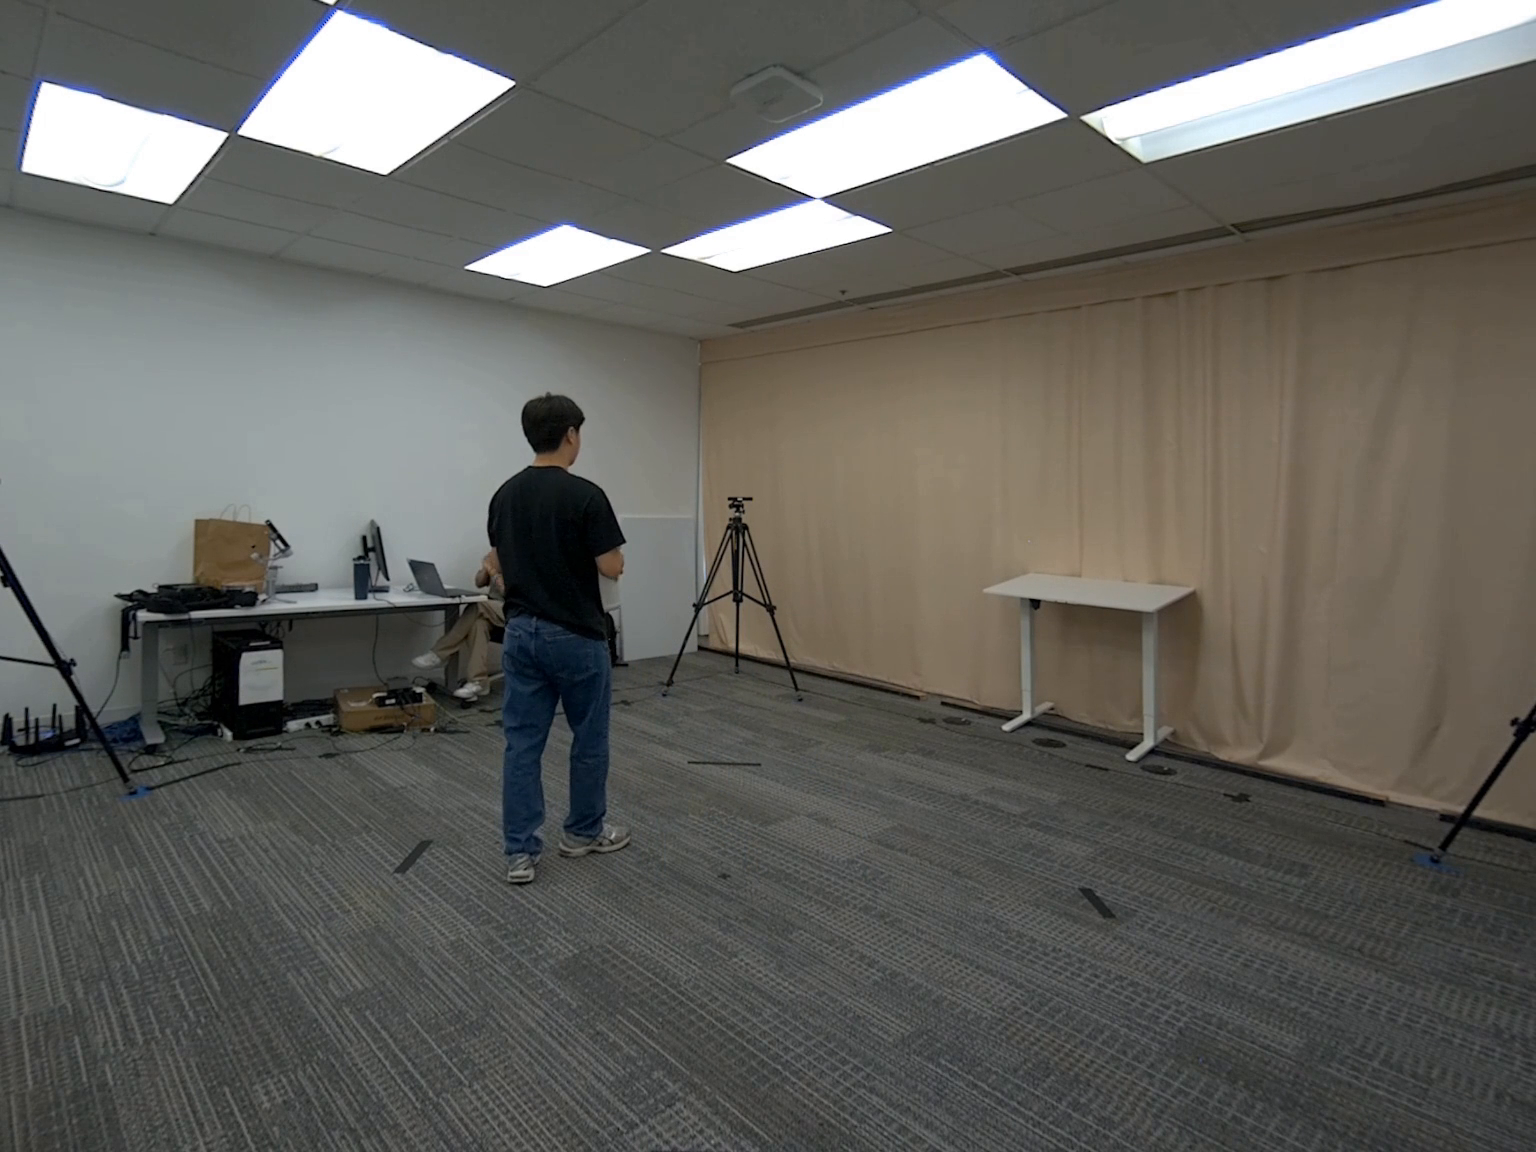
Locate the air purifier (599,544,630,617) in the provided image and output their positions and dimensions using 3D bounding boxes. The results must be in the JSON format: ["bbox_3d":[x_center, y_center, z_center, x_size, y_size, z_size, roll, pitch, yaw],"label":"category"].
[{"bbox_3d":[-0.686,0.010,3.386,0.175,0.264,0.169,2,8,30],"label":"air purifier"}]
